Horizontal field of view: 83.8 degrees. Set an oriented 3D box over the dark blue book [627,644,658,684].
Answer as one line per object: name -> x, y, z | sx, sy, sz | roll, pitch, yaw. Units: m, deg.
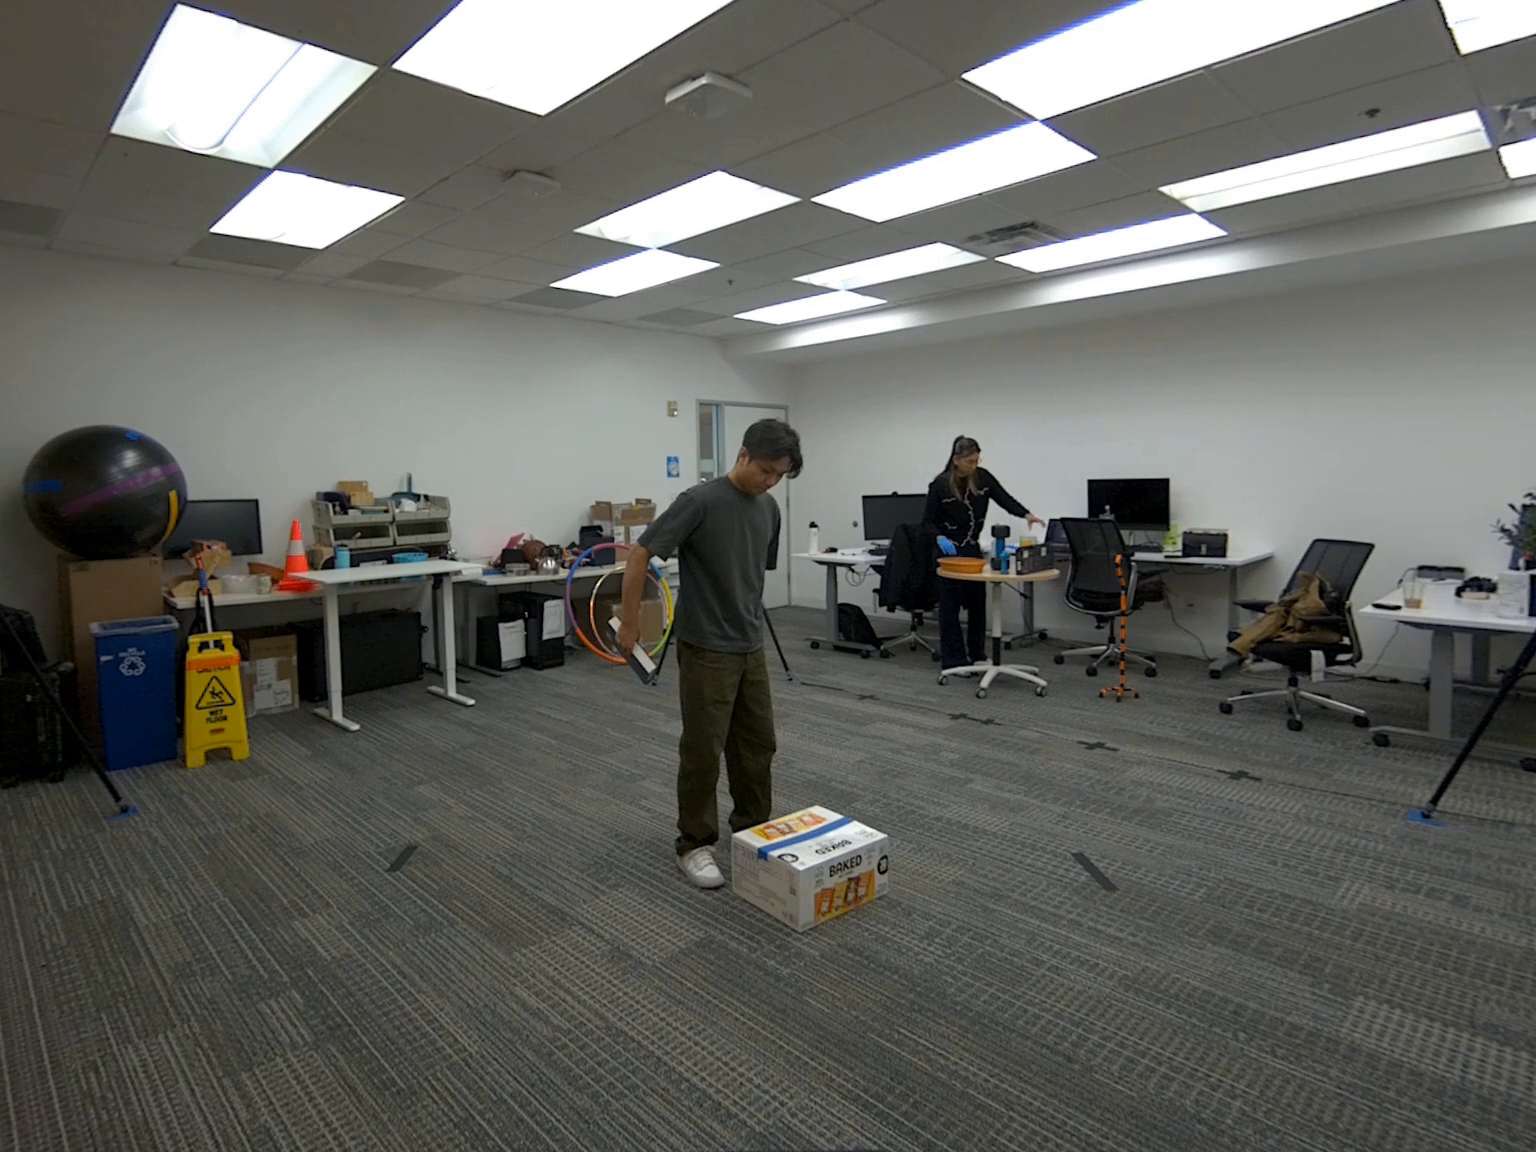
dark blue book -> -0.491, 0.265, 3.095 | 0.045, 0.249, 0.162 | -37, -11, -24
